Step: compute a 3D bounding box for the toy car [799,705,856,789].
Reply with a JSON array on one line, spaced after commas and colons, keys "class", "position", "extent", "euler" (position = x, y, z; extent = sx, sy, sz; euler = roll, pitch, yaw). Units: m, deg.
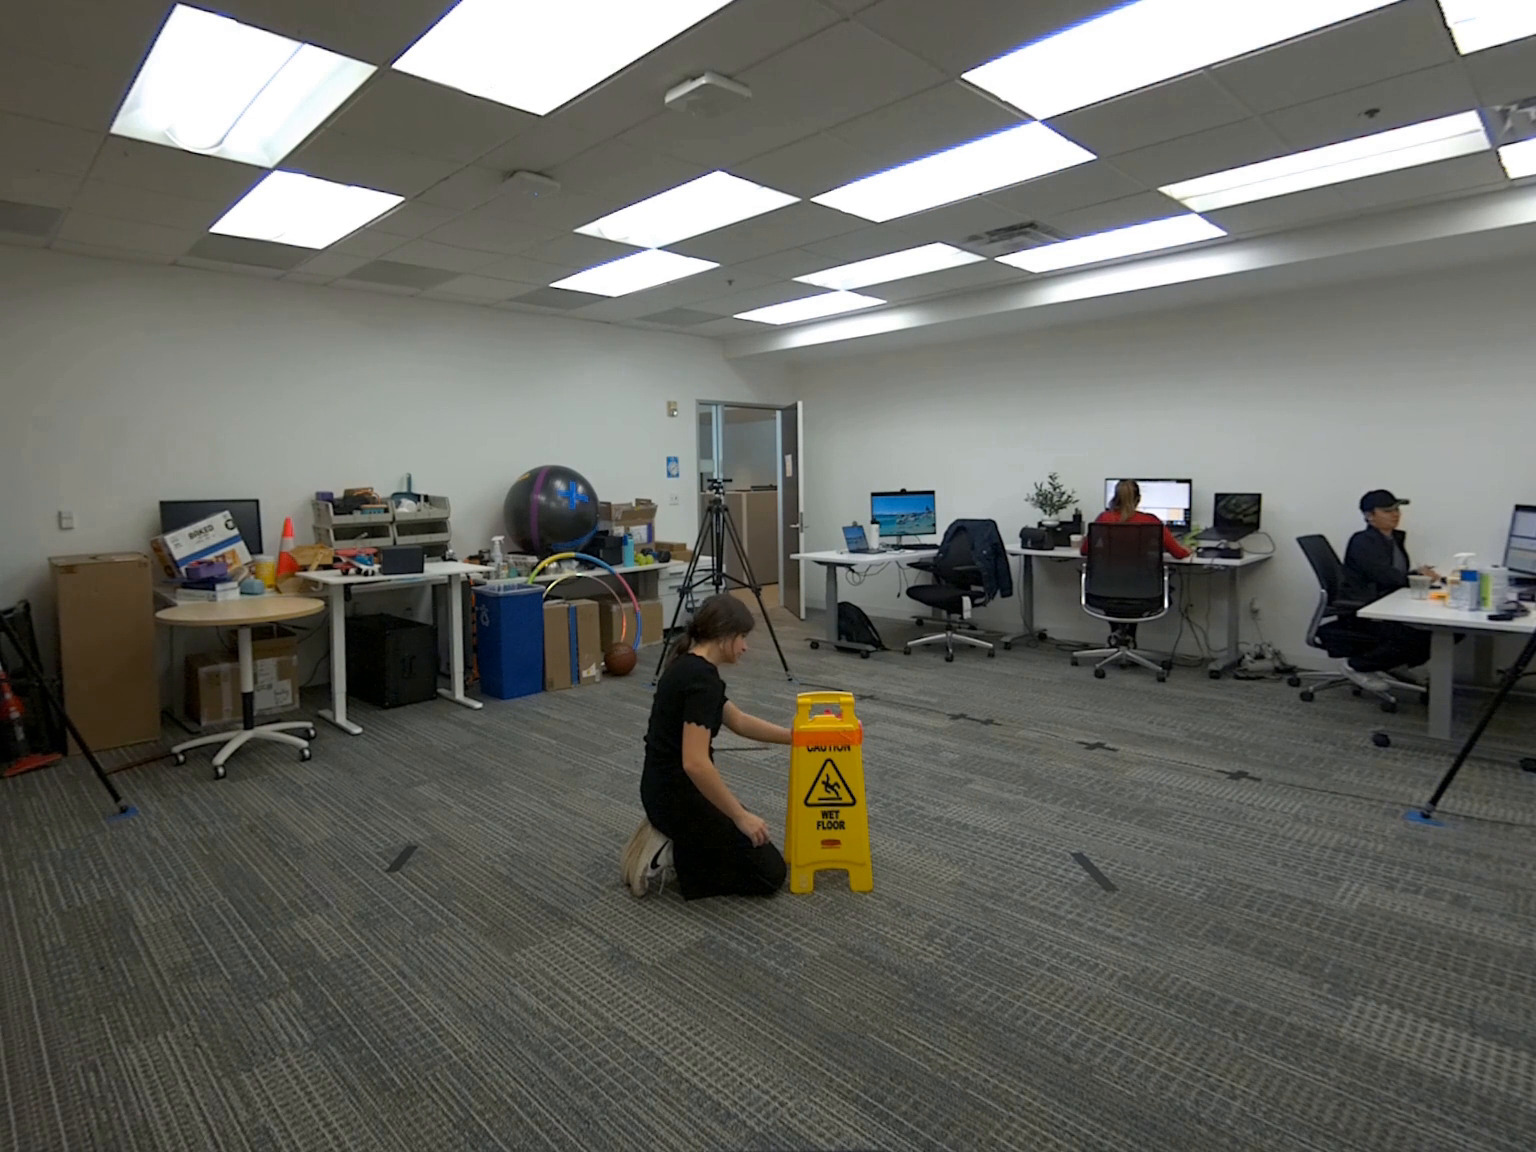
[{"class": "toy car", "position": [0.211, 0.608, 3.057], "extent": [0.129, 0.255, 0.083], "euler": [14, -5, -7]}]
